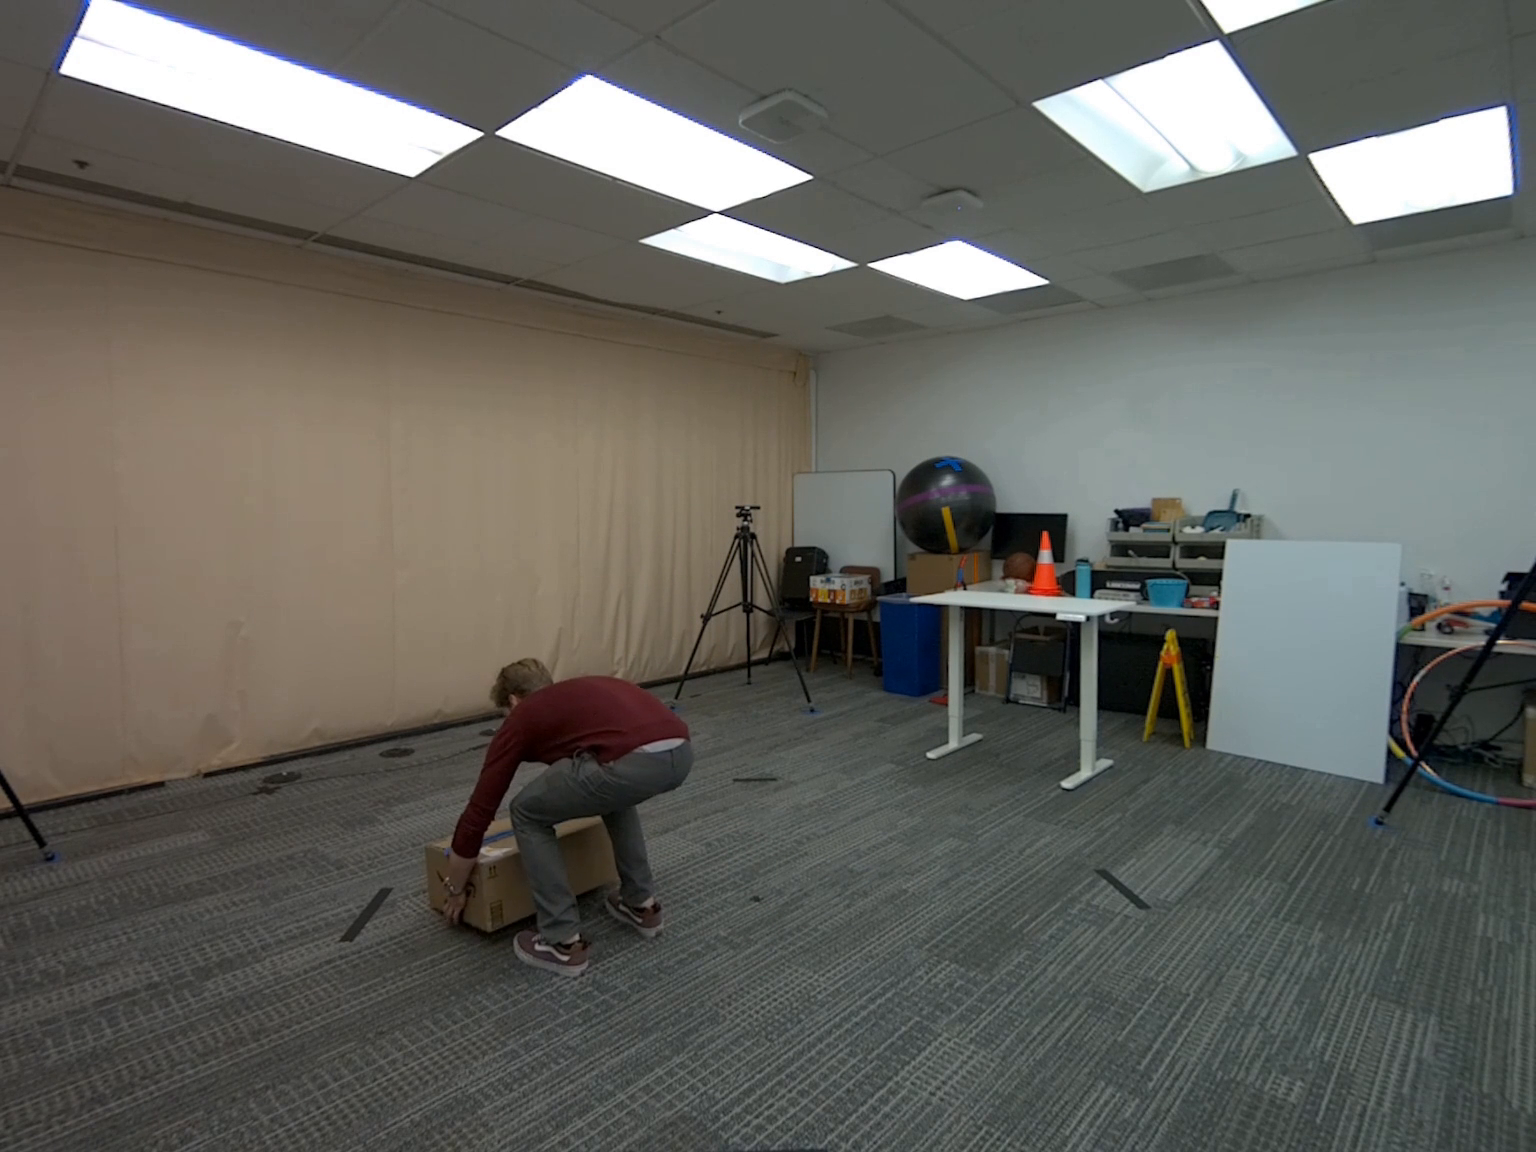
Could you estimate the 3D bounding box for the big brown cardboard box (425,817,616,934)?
[{"bbox_3d":[-0.852,0.986,2.976,0.430,0.233,0.571,-6,0,43],"label":"big brown cardboard box"}]
